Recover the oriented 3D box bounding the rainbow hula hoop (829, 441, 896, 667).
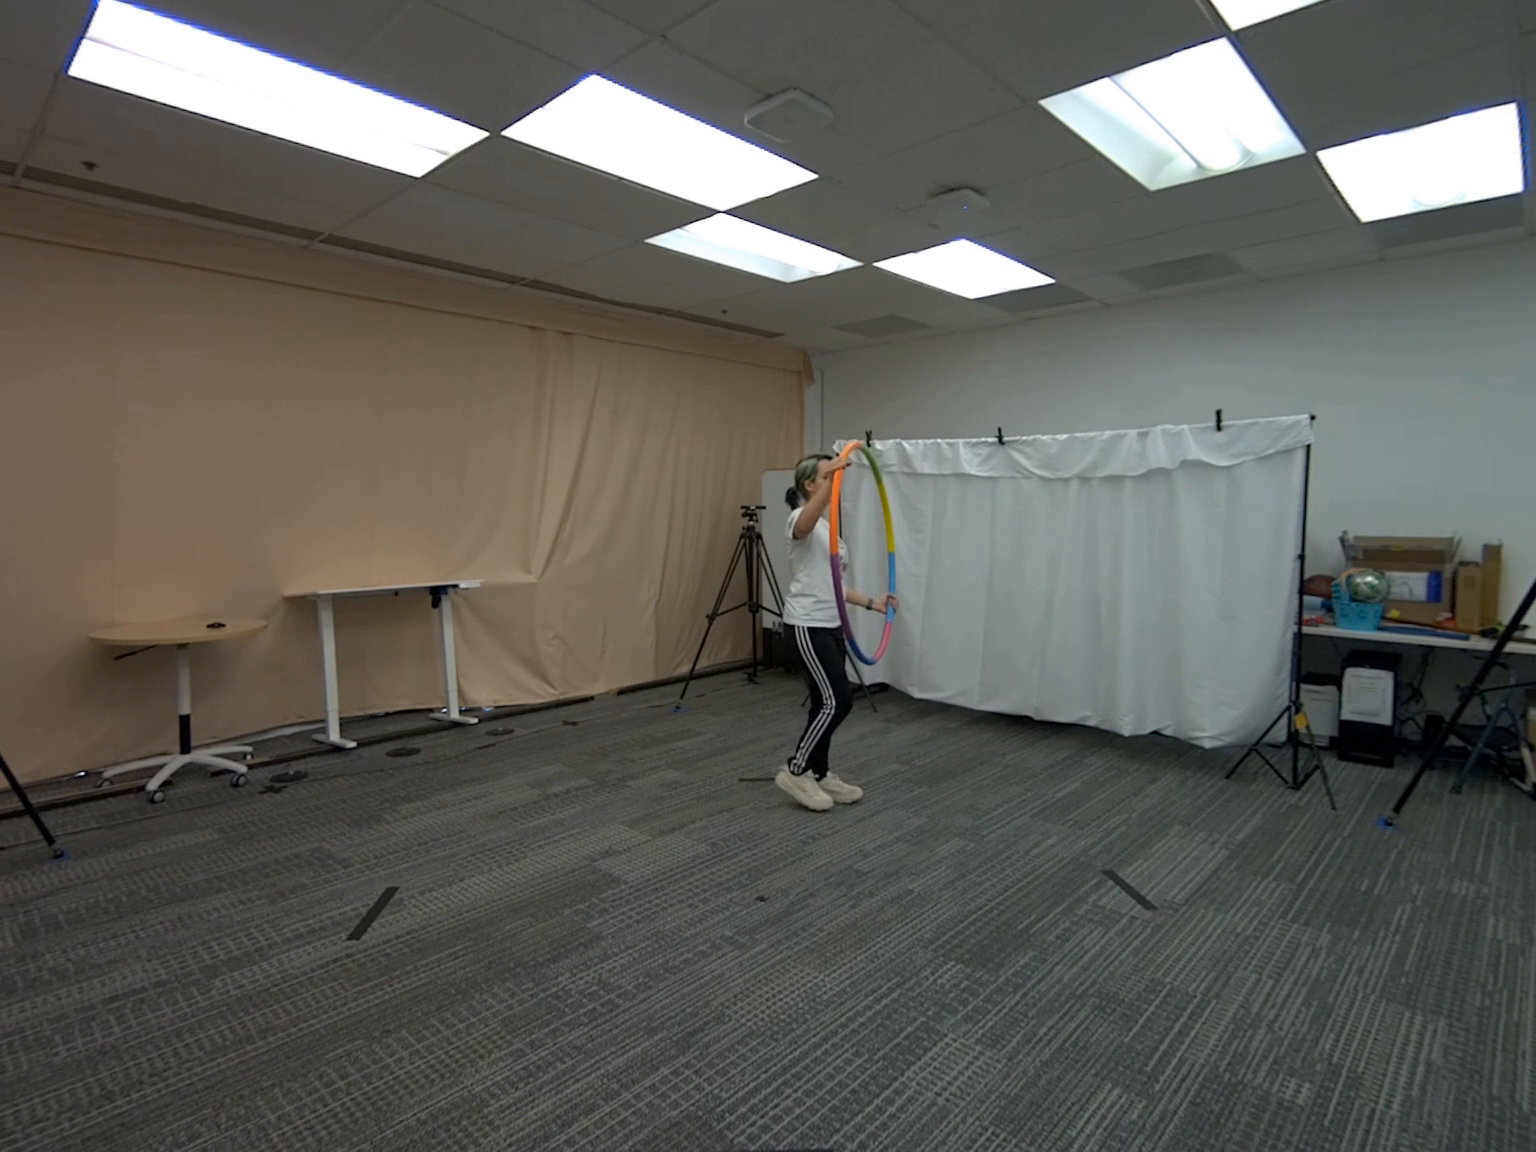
[{"bbox_3d":[0.433,-0.097,3.703,0.036,0.978,0.956,-4,1,24],"label":"rainbow hula hoop"}]
